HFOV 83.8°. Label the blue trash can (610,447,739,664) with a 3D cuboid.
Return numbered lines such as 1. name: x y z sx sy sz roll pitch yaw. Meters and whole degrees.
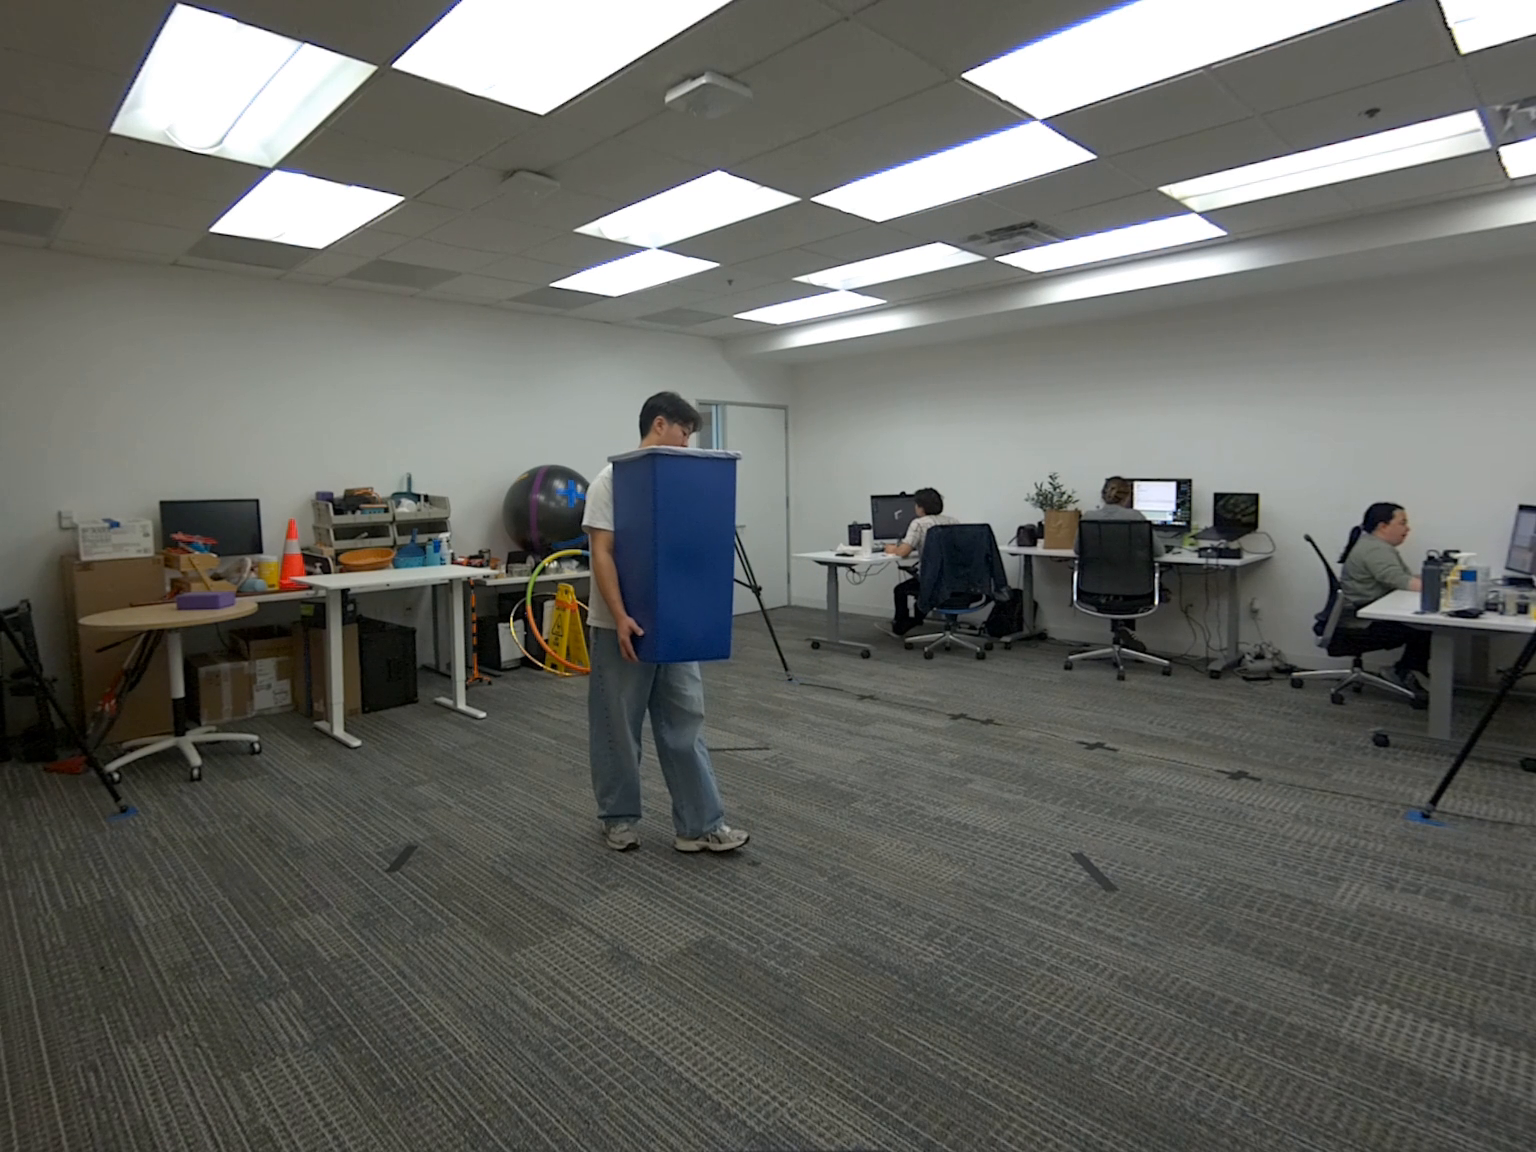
1. blue trash can: -0.321 -0.075 2.994 0.364 0.715 0.388 1 -2 -34
